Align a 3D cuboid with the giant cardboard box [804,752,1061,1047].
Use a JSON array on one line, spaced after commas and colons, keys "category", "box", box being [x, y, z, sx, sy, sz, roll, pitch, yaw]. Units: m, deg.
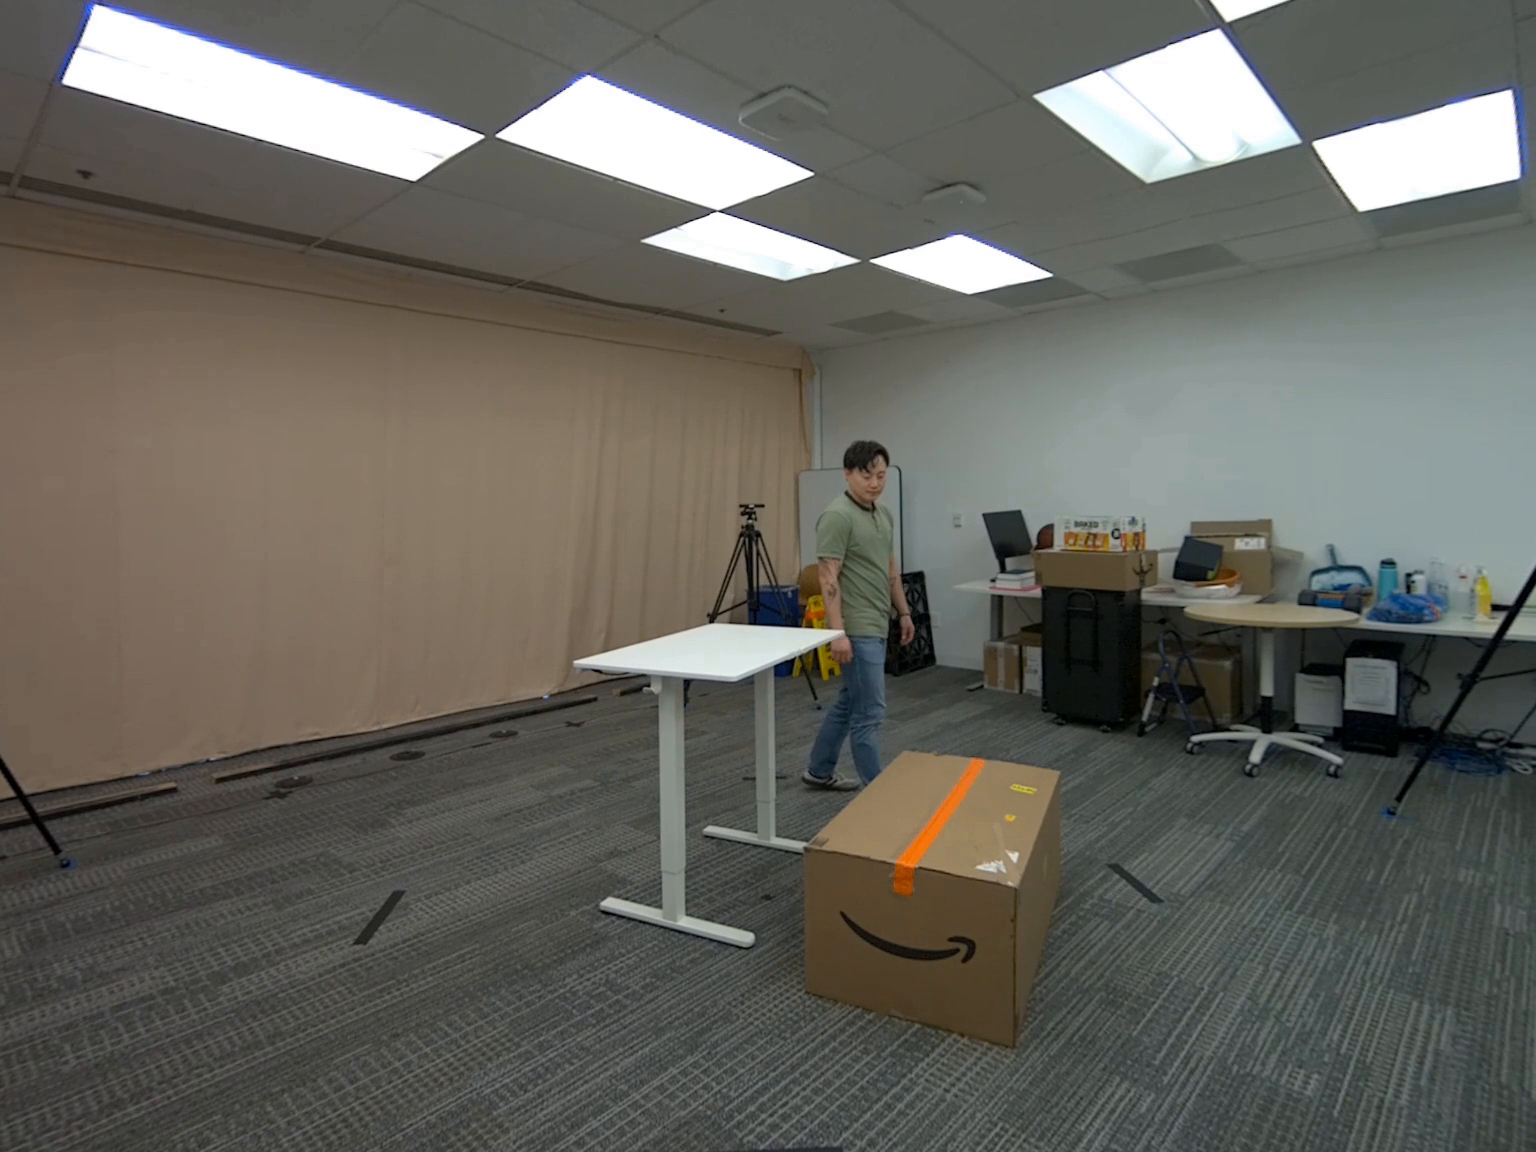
[{"category": "giant cardboard box", "box": [0.579, 0.937, 2.702, 0.593, 0.425, 1.001, 2, 5, 26]}]
